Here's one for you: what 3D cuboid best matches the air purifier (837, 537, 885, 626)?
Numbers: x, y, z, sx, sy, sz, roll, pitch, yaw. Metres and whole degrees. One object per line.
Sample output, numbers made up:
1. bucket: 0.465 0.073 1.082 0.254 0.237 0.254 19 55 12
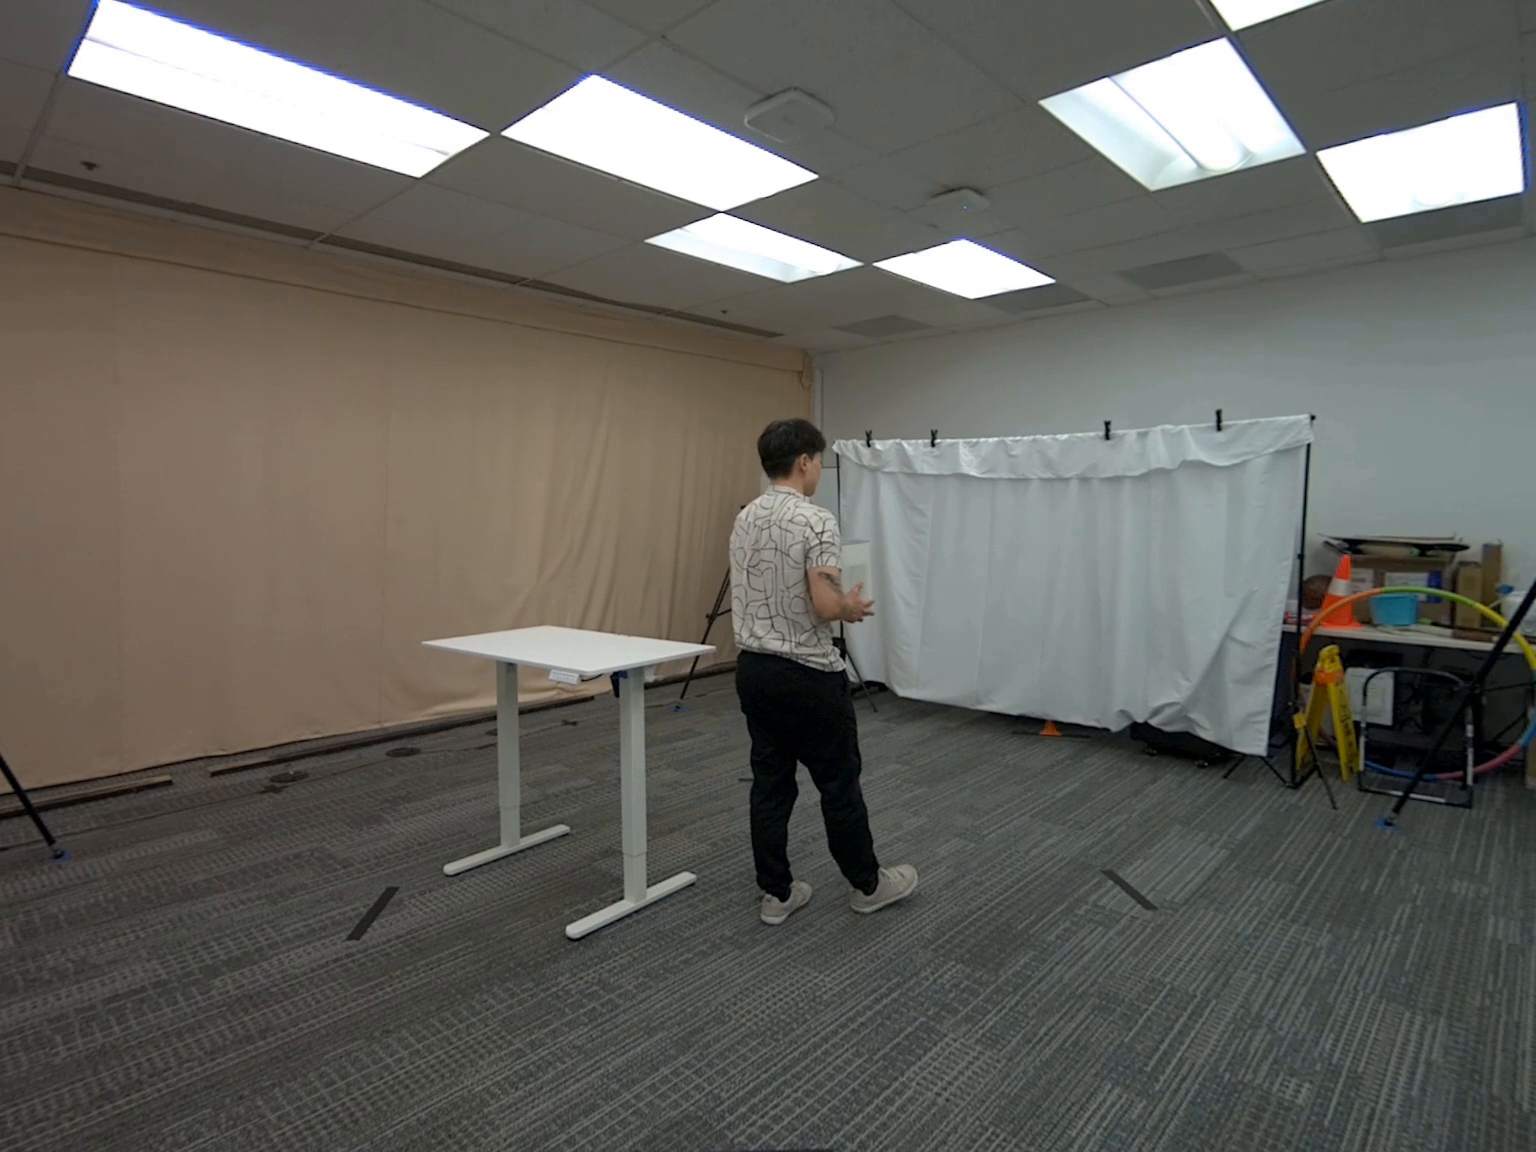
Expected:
1. air purifier: 0.271 0.012 2.922 0.167 0.264 0.176 -9 9 -33
